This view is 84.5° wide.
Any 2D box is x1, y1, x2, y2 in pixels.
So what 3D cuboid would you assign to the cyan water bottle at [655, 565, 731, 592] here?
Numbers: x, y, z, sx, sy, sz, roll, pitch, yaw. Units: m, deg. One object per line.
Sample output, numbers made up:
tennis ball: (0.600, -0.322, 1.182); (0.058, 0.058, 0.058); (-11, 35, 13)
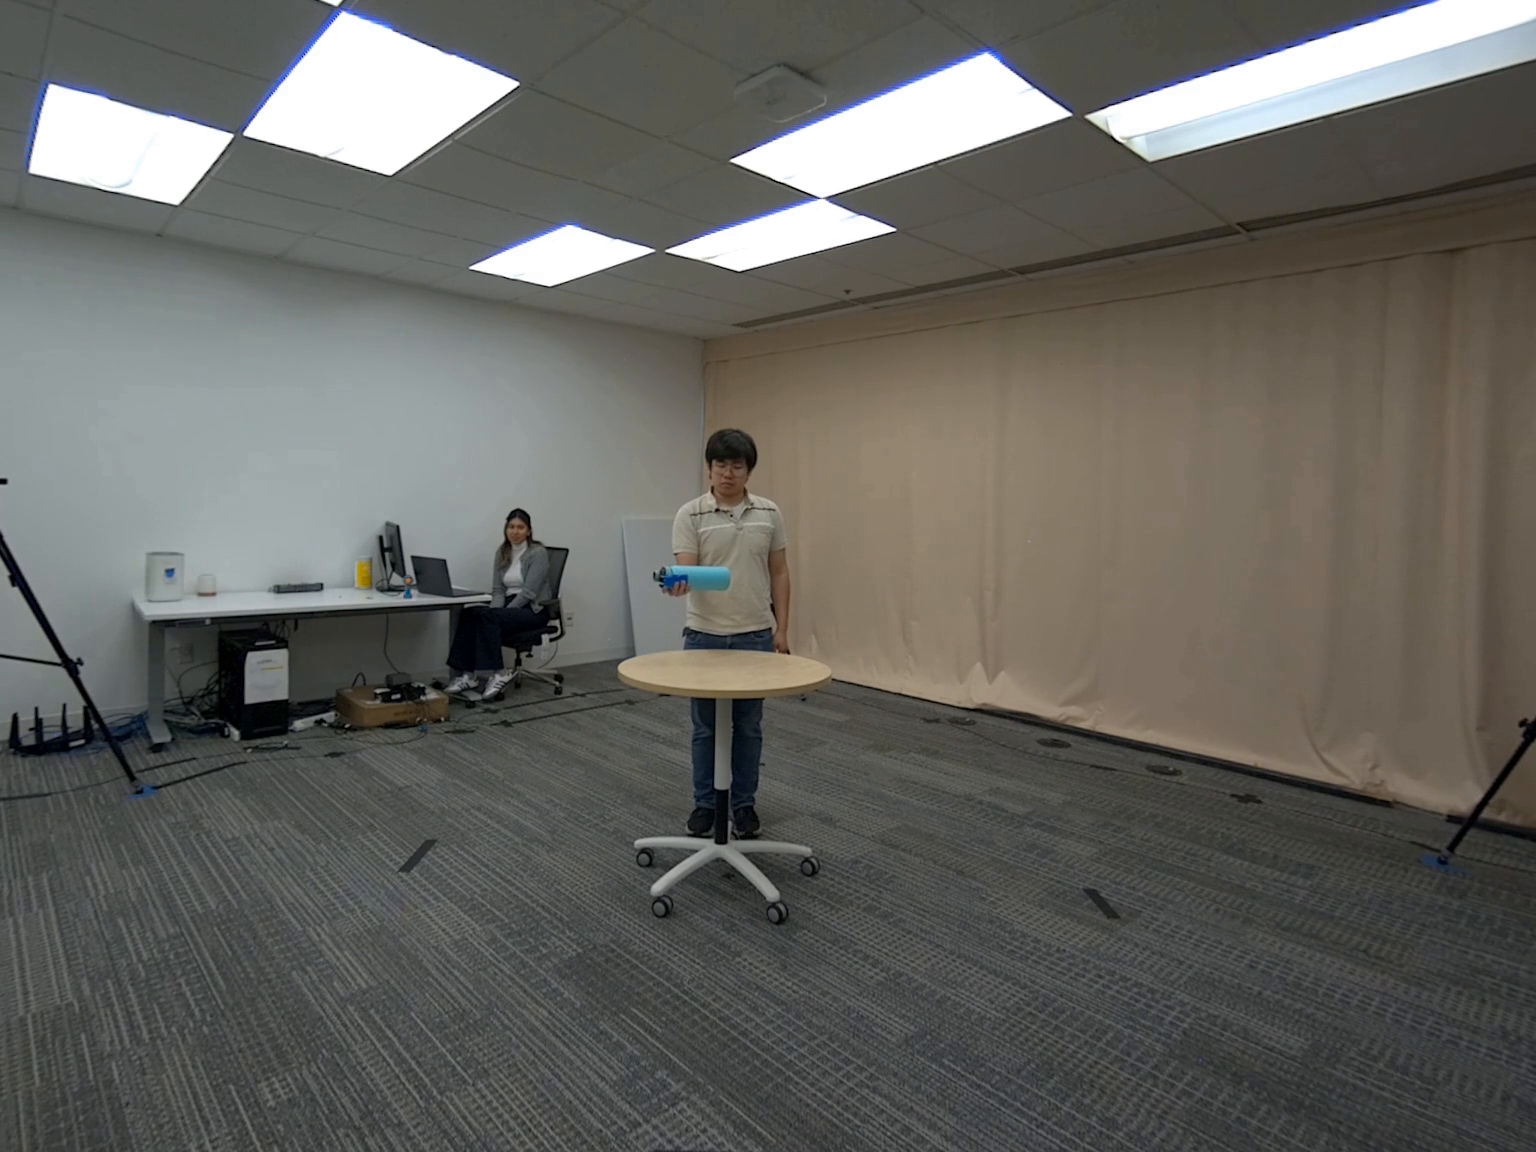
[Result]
cyan water bottle: (-0.285, 0.009, 3.094); (0.278, 0.092, 0.094); (1, 4, -27)
